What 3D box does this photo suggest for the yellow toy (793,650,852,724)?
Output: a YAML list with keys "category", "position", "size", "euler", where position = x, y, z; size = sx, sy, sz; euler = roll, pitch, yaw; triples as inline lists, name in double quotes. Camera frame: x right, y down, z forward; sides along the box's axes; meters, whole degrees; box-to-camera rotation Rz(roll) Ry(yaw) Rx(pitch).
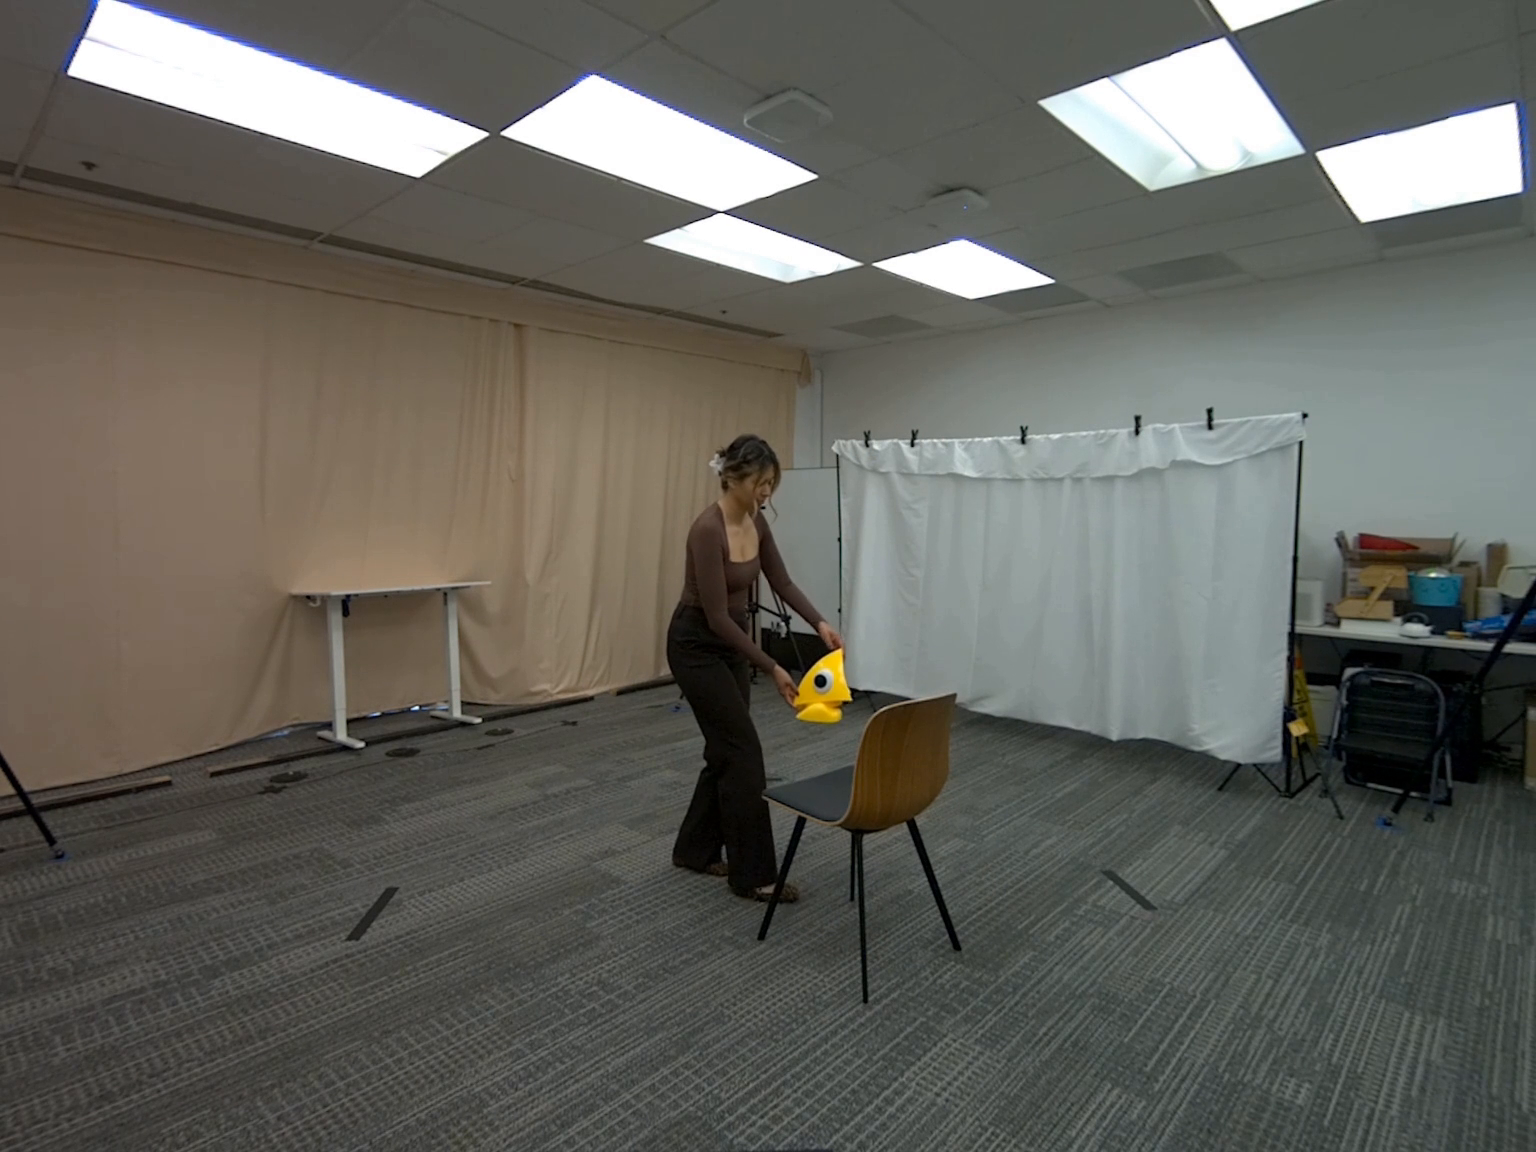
- category: "yellow toy"
  position: [0.188, 0.365, 2.912]
  size: [0.193, 0.230, 0.205]
  euler: [2, 7, 0]
